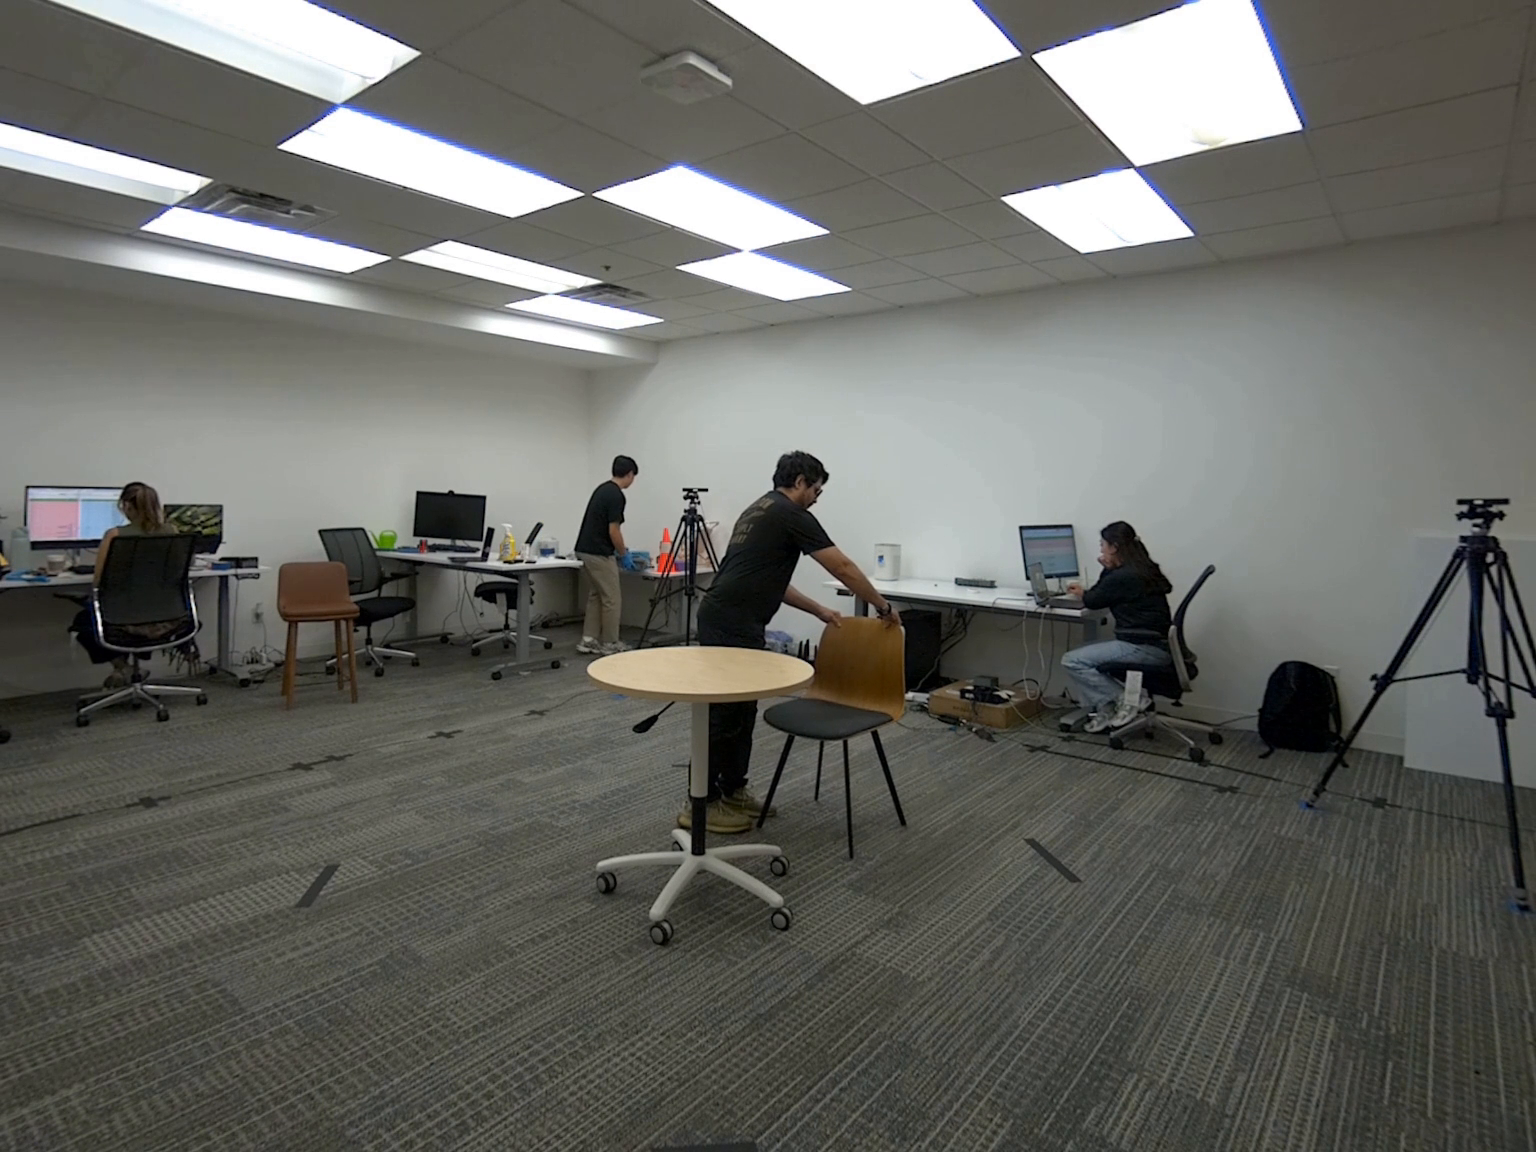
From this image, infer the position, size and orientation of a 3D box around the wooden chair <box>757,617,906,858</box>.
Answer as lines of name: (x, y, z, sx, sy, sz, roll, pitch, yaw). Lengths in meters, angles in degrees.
wooden chair: (0.271, 0.612, 3.500, 0.494, 0.878, 0.506, 4, 0, 37)
